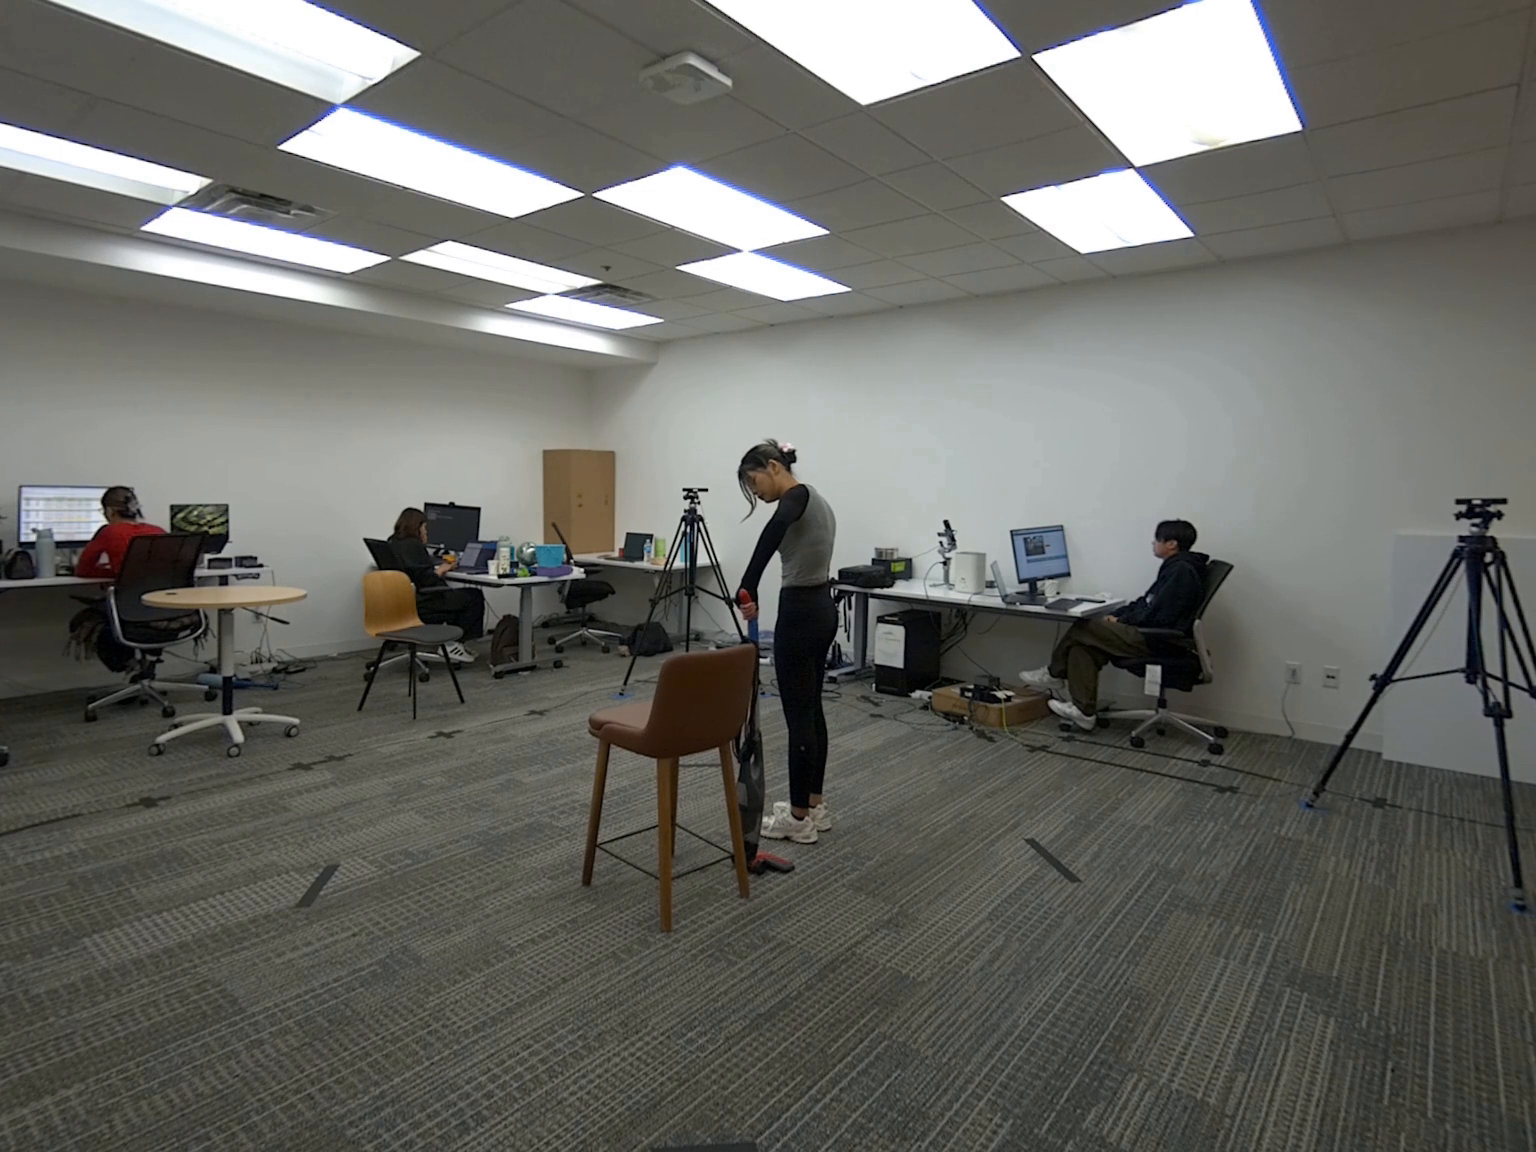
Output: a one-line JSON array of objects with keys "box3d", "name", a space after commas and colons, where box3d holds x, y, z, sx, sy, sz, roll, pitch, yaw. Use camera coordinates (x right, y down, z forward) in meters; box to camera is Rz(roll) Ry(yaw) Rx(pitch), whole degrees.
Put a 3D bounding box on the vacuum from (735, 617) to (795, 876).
[{"box3d": [-0.076, 0.566, 3.059, 0.140, 1.038, 0.261, -13, 14, -42], "name": "vacuum"}]
